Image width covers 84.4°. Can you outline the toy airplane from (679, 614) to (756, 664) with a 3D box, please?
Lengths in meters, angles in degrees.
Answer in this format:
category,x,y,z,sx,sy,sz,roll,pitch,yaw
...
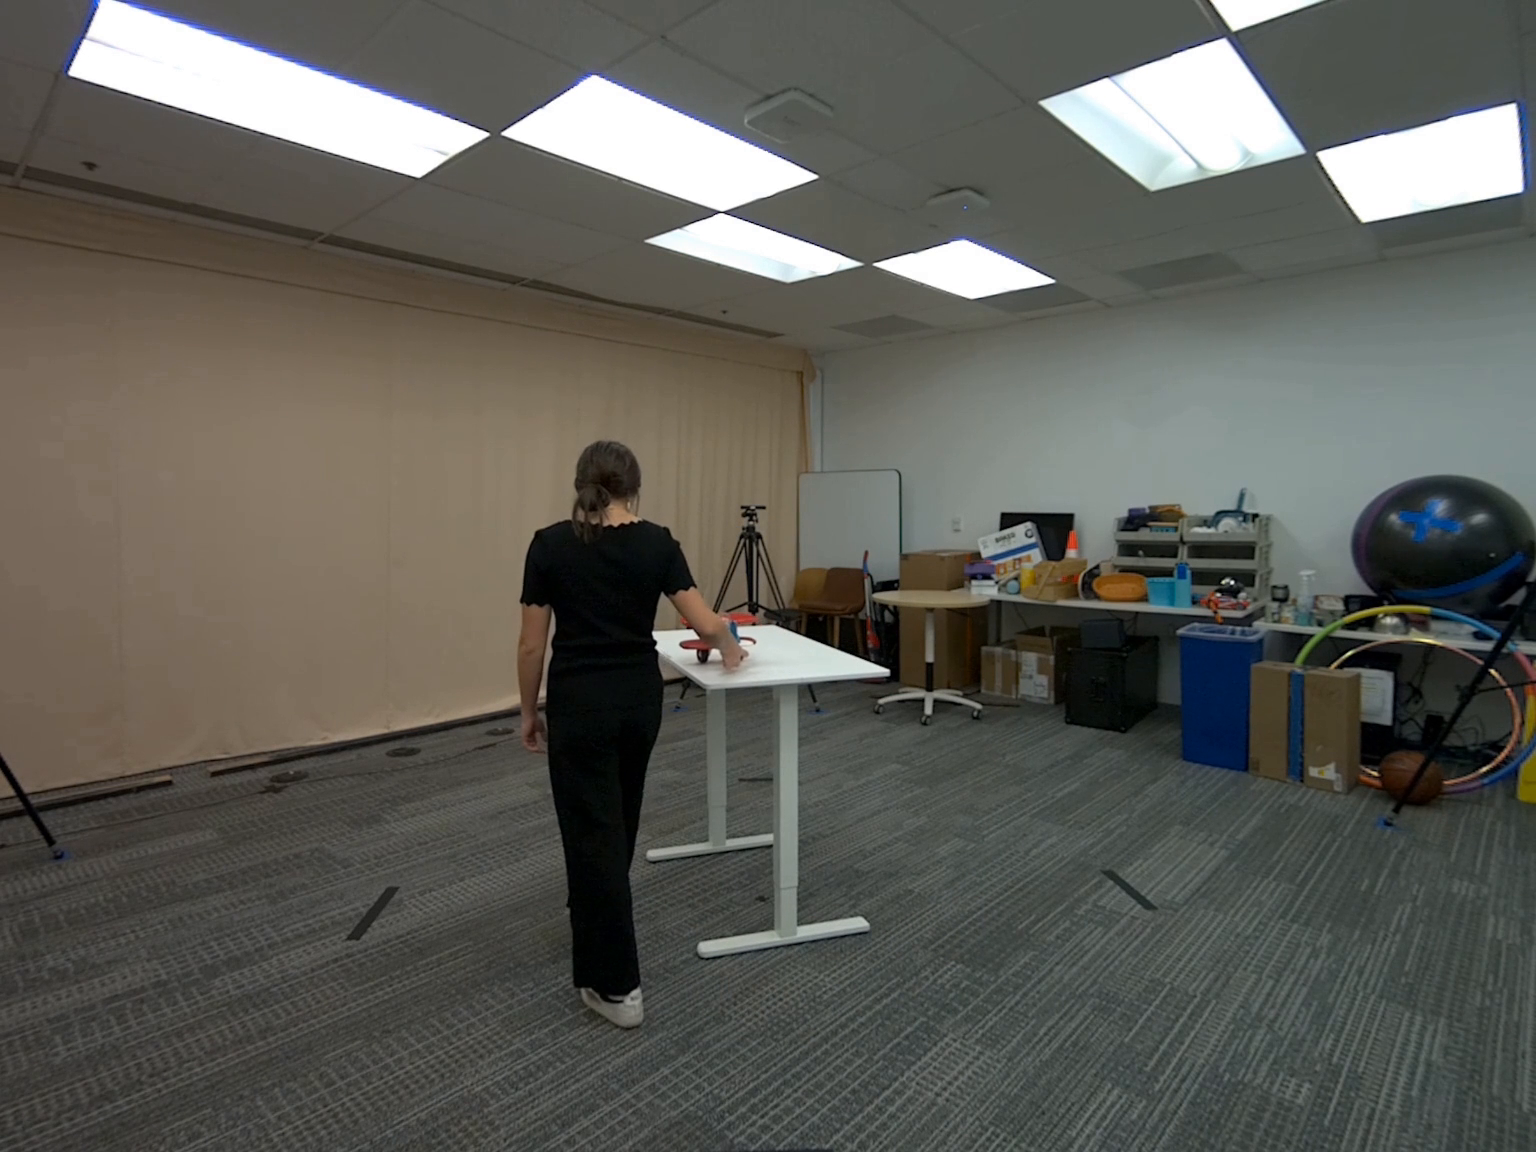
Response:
category,x,y,z,sx,sy,sz,roll,pitch,yaw
toy airplane,-0.131,0.198,2.707,0.267,0.157,0.243,-7,-4,44
